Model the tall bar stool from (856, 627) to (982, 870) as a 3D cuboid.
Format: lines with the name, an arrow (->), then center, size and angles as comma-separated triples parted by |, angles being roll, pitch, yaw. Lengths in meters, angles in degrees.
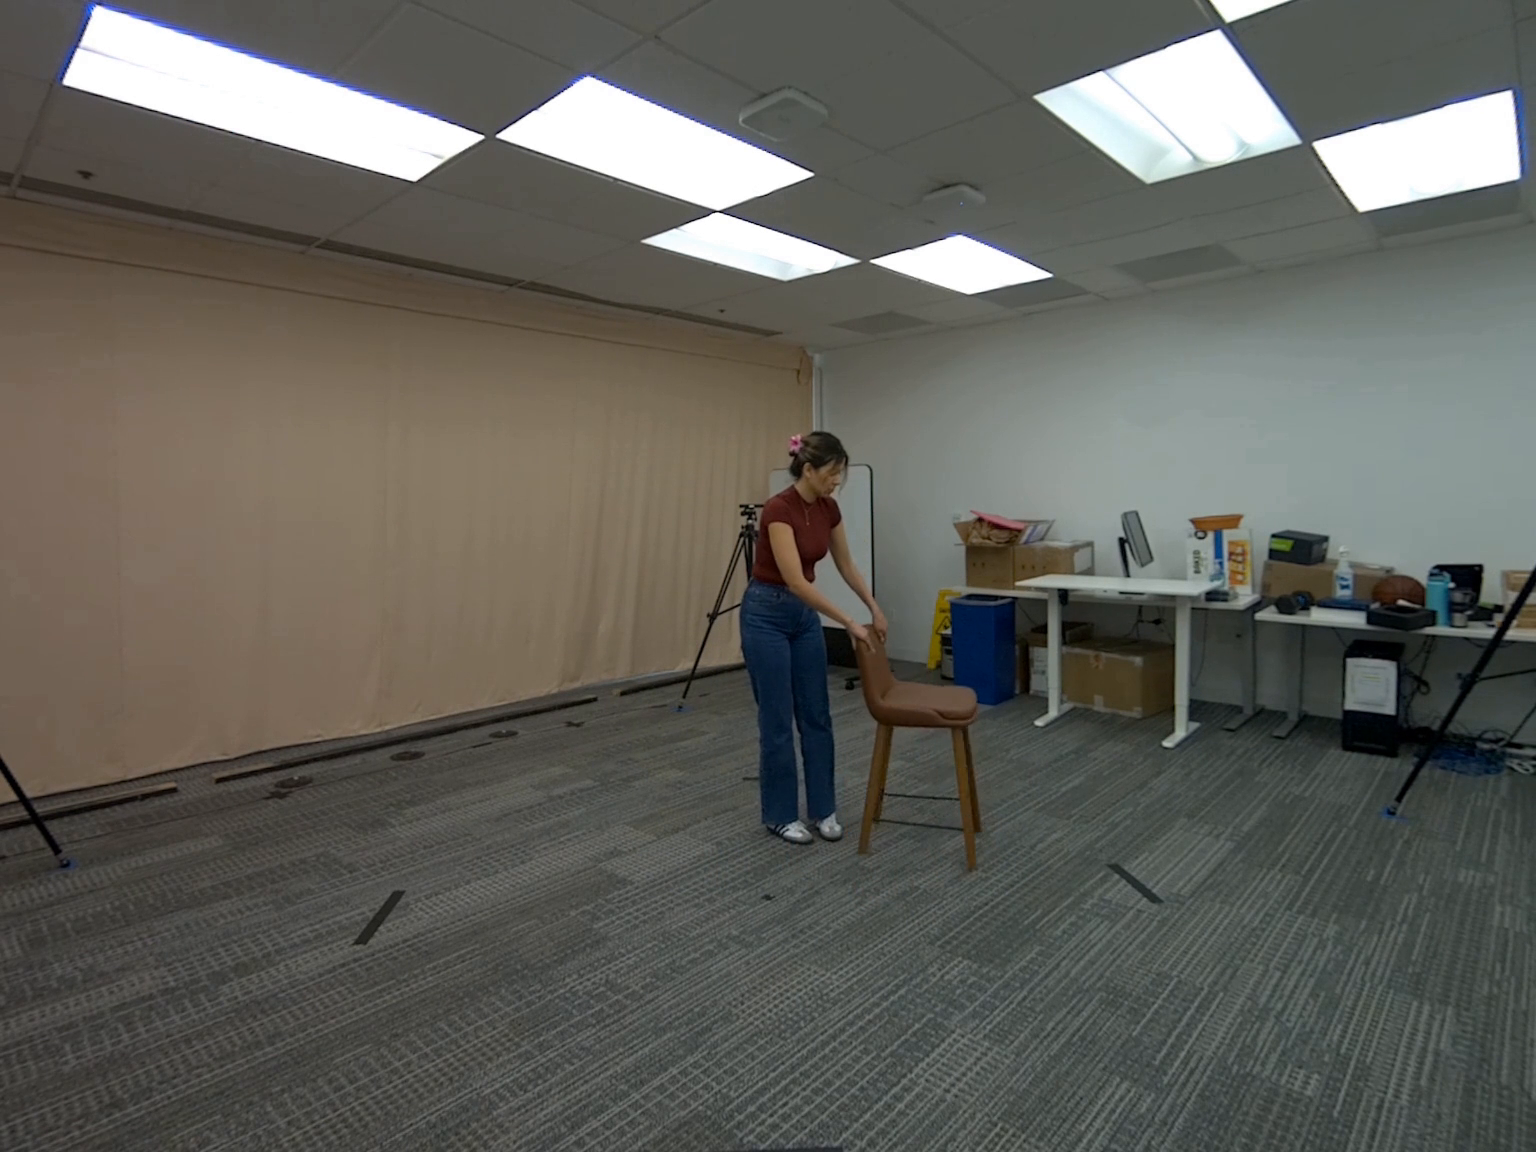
tall bar stool -> 0.612, 0.656, 3.413 | 0.477, 0.889, 0.448 | -2, 2, 19
